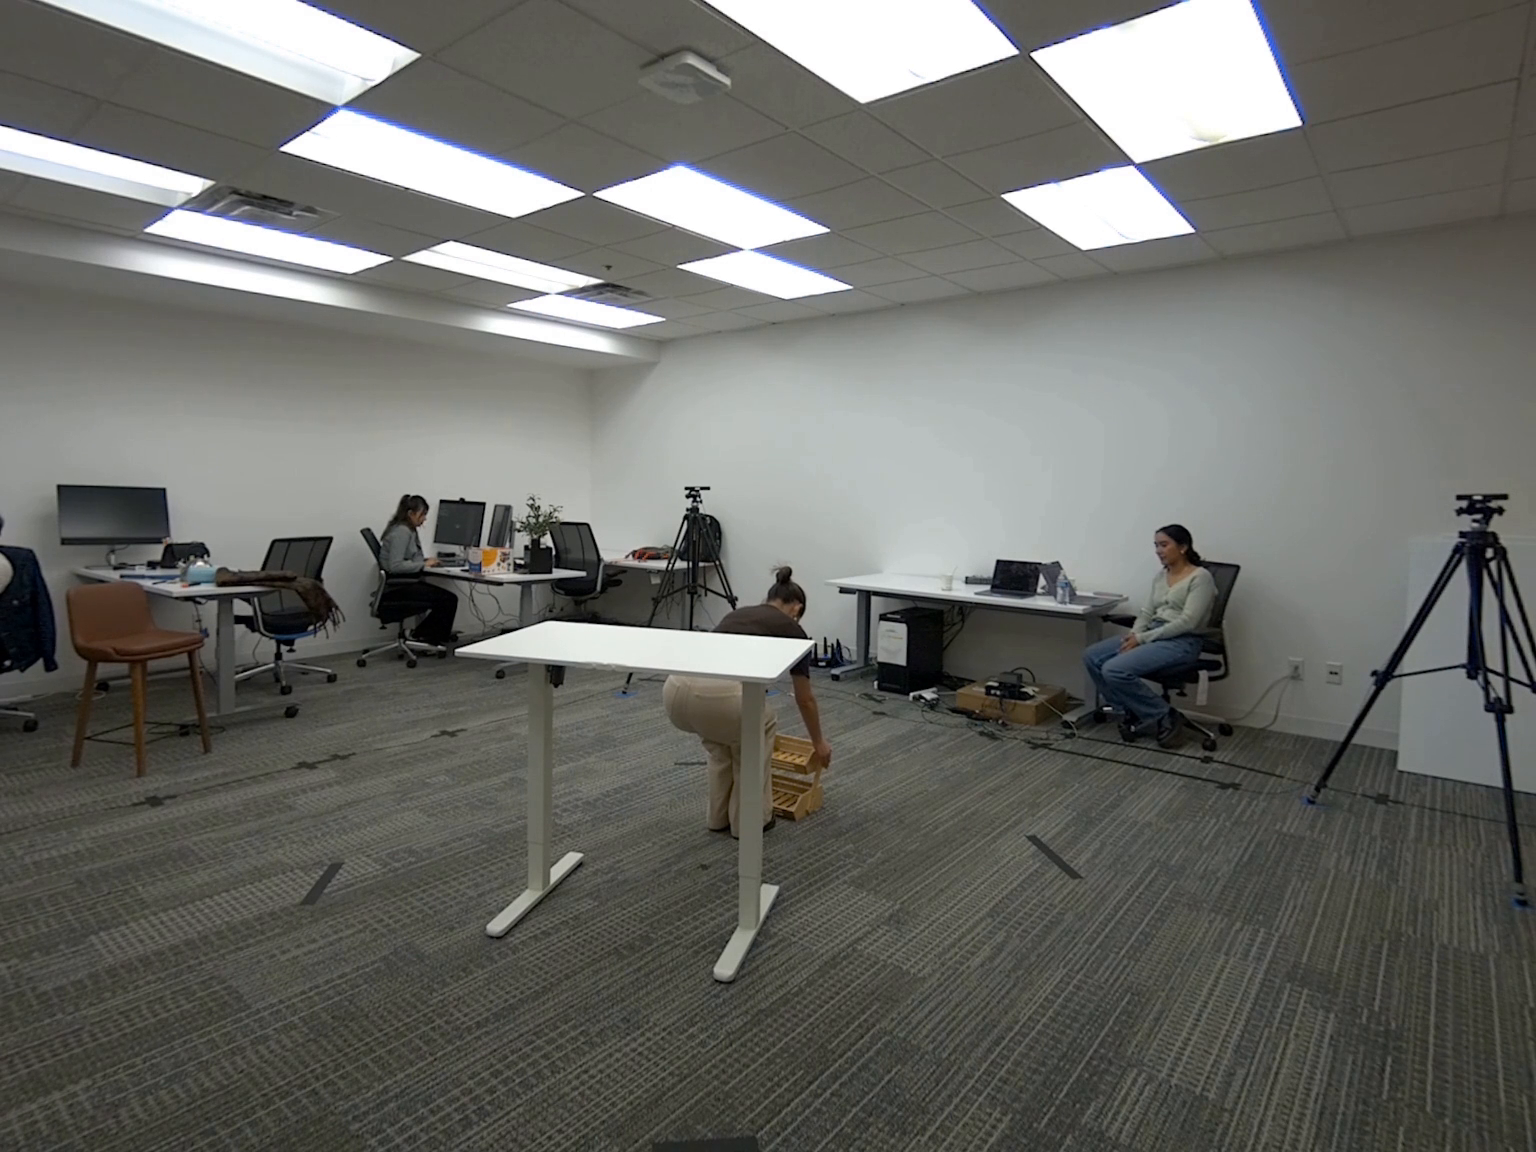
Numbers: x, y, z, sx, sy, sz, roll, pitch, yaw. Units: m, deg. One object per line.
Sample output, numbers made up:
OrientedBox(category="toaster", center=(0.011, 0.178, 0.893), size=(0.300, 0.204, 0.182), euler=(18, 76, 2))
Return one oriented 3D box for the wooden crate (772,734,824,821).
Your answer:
OrientedBox(category="wooden crate", center=(0.052, 0.866, 3.745), size=(0.334, 0.272, 0.294), euler=(3, 4, 33))
